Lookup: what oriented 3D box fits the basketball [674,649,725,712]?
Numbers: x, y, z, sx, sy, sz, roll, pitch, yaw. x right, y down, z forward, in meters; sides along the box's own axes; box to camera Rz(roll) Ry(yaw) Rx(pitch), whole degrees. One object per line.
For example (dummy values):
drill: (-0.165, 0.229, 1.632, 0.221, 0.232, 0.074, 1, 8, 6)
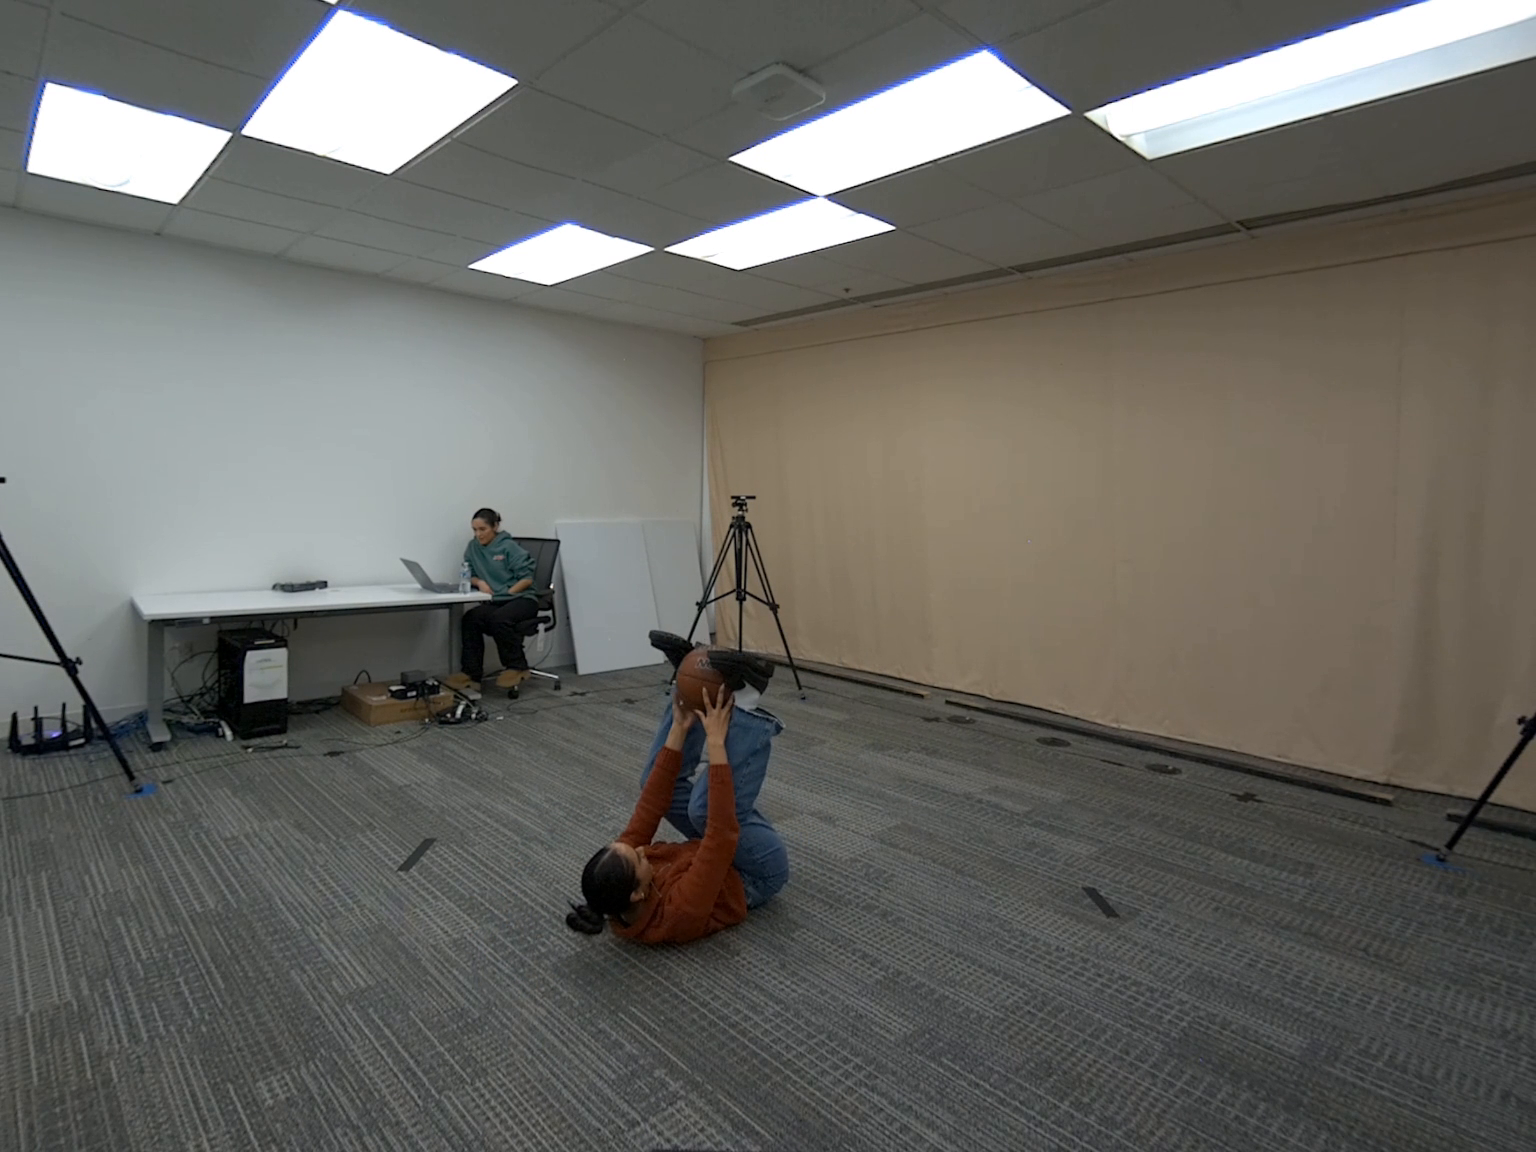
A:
basketball: (-0.184, 0.342, 2.785, 0.236, 0.234, 0.237, 0, 8, -1)
